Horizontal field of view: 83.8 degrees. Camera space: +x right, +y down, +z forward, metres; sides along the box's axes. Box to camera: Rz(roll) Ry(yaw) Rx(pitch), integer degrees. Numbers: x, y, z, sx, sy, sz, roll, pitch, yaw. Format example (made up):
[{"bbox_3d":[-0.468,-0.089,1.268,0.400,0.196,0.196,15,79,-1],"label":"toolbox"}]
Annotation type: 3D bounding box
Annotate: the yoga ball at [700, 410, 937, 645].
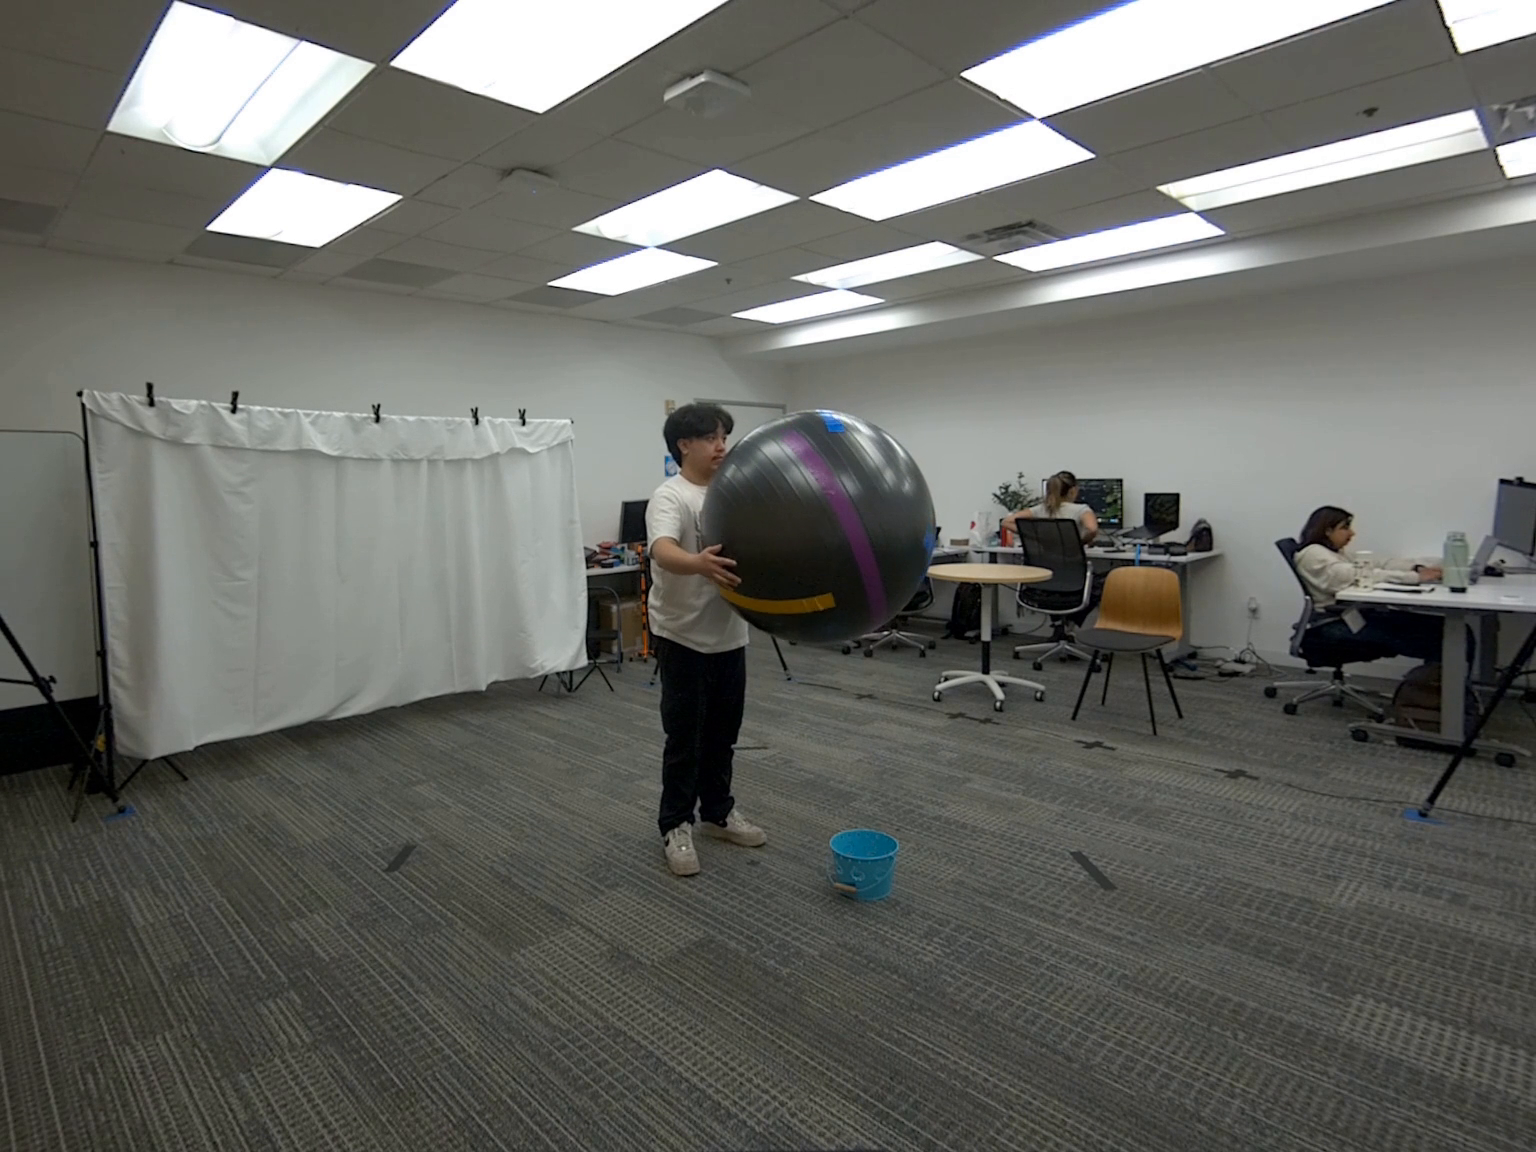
[{"bbox_3d":[0.169,-0.155,2.775,0.757,0.755,0.762,-1,5,-2],"label":"yoga ball"}]
